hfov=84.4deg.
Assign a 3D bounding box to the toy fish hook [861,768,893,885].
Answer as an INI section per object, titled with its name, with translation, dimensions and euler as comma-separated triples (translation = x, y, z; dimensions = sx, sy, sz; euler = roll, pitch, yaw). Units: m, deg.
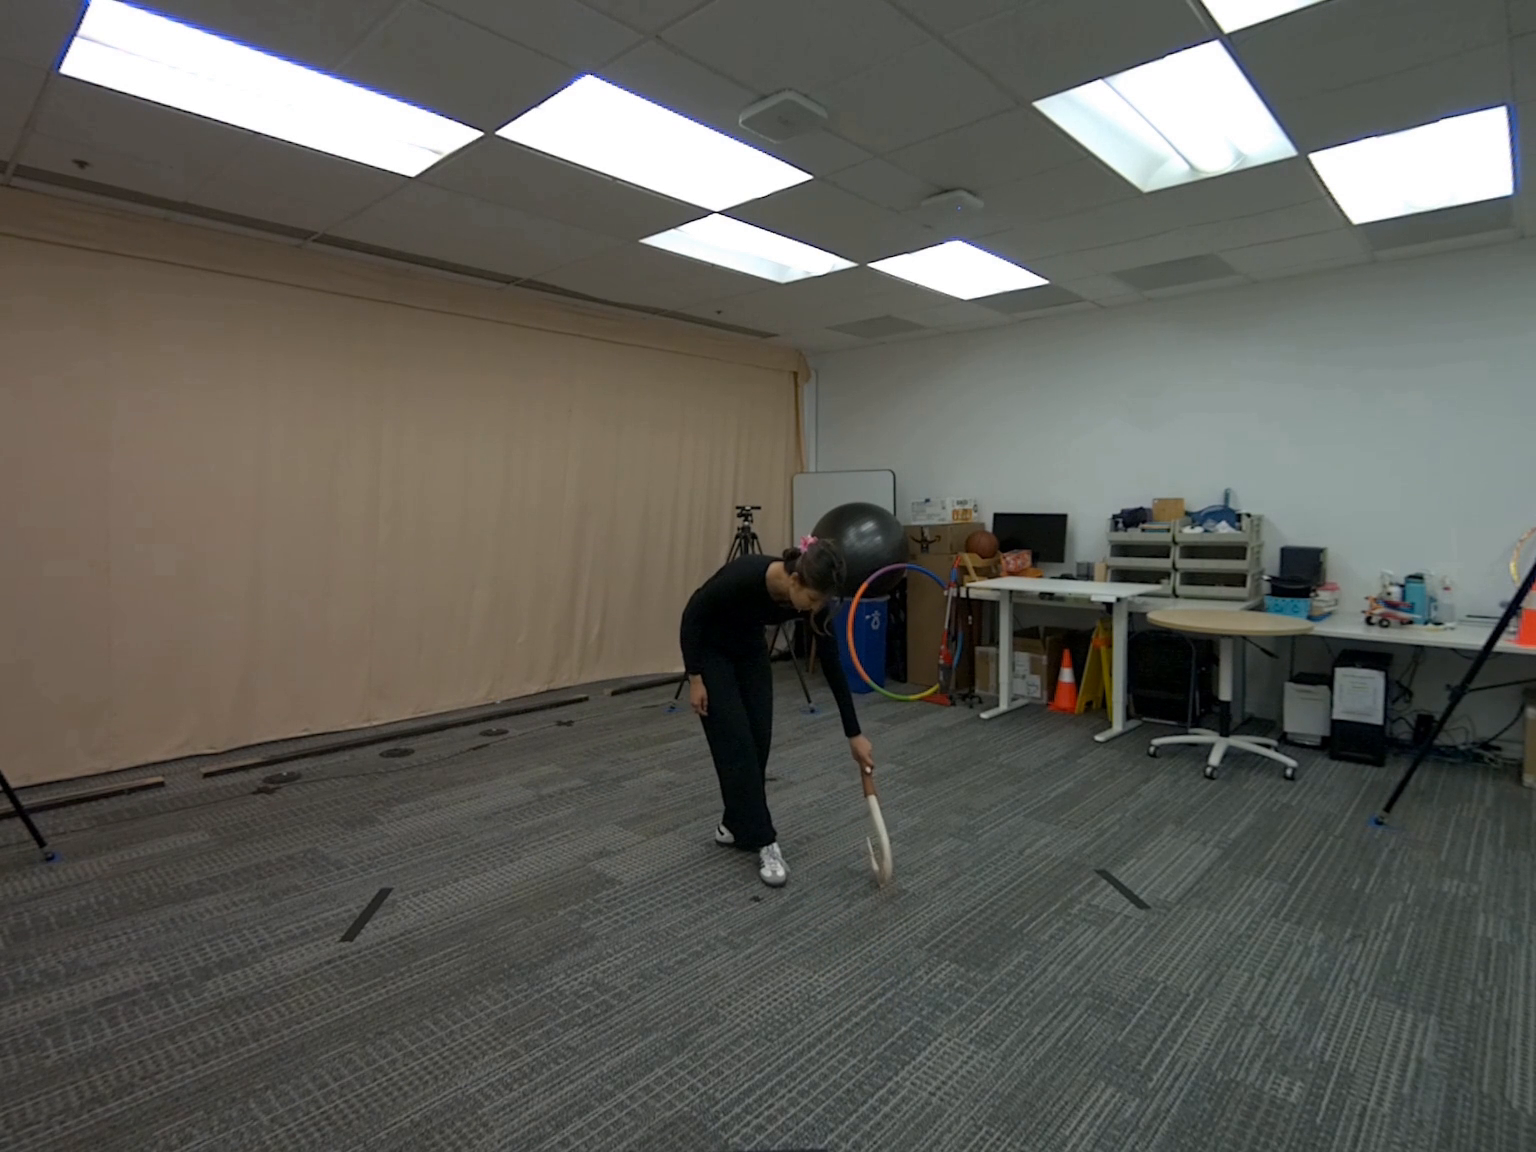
[toy fish hook]
translation = 0.397, 0.898, 3.178
dimensions = 0.048, 0.516, 0.222
euler = 3, -34, -11
